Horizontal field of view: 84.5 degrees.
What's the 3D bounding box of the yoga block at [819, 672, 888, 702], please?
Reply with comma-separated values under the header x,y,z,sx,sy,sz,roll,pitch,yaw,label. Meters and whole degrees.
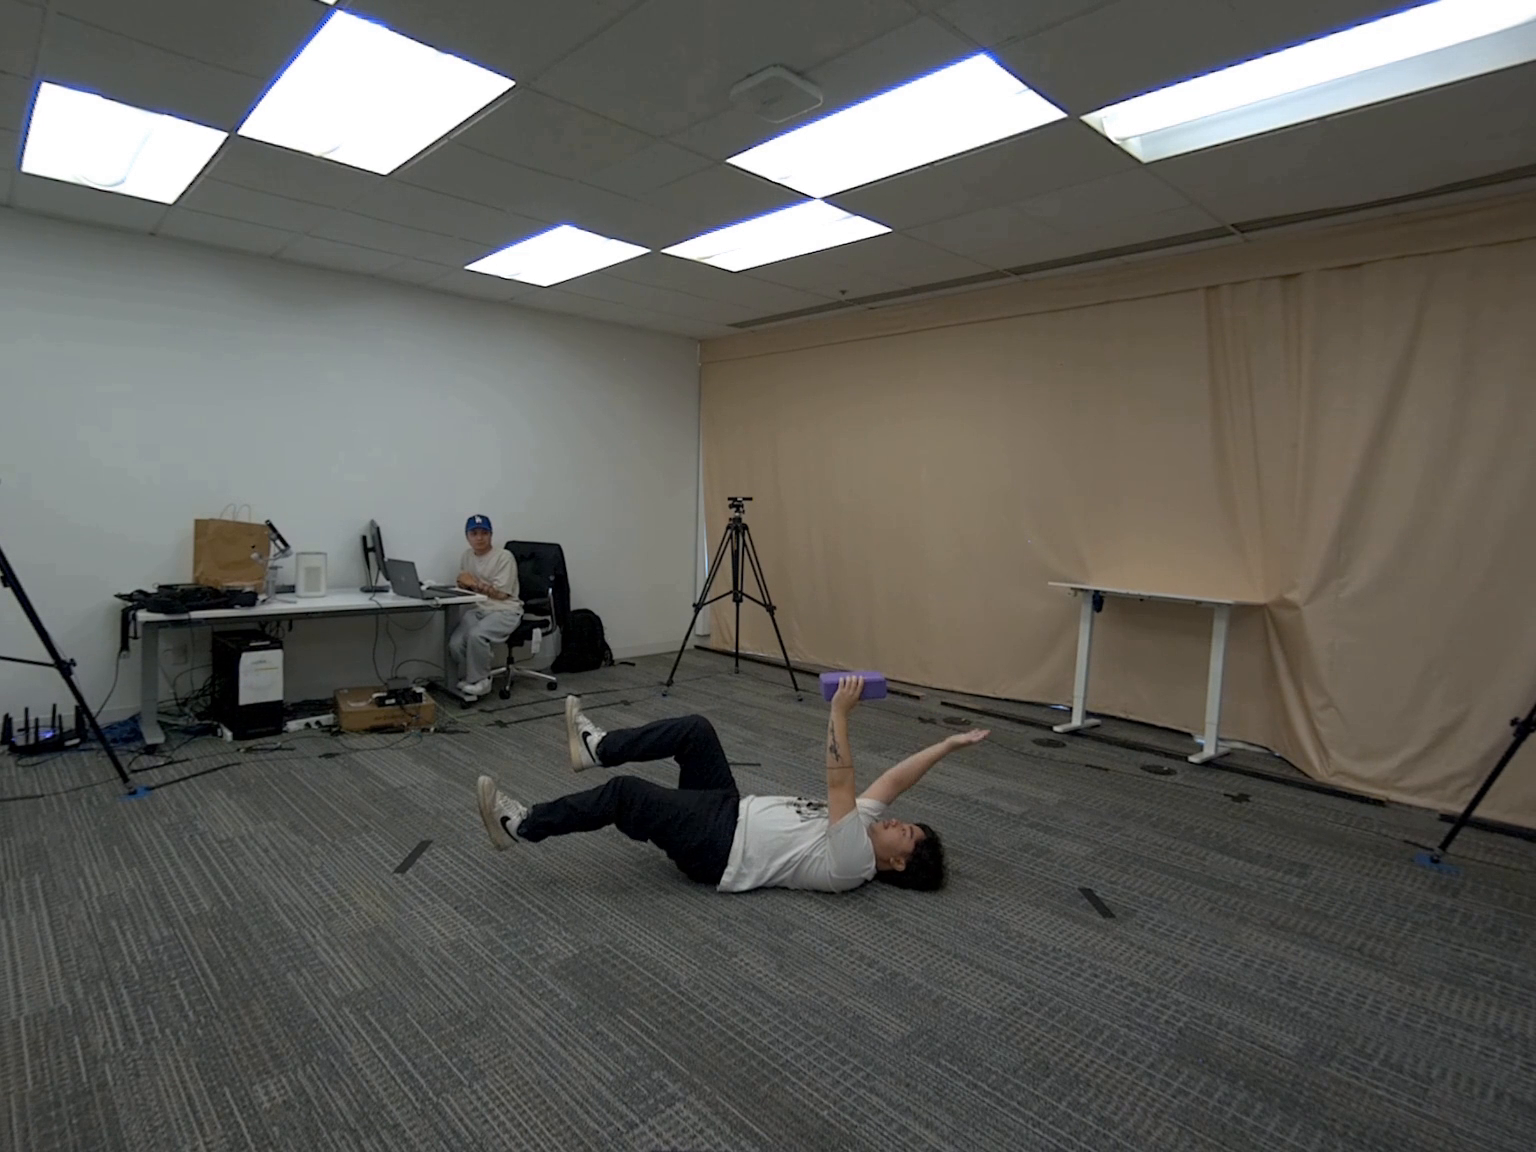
x,y,z,sx,sy,sz,roll,pitch,yaw,label
0.323,0.411,3.127,0.229,0.076,0.149,-4,6,1,yoga block
